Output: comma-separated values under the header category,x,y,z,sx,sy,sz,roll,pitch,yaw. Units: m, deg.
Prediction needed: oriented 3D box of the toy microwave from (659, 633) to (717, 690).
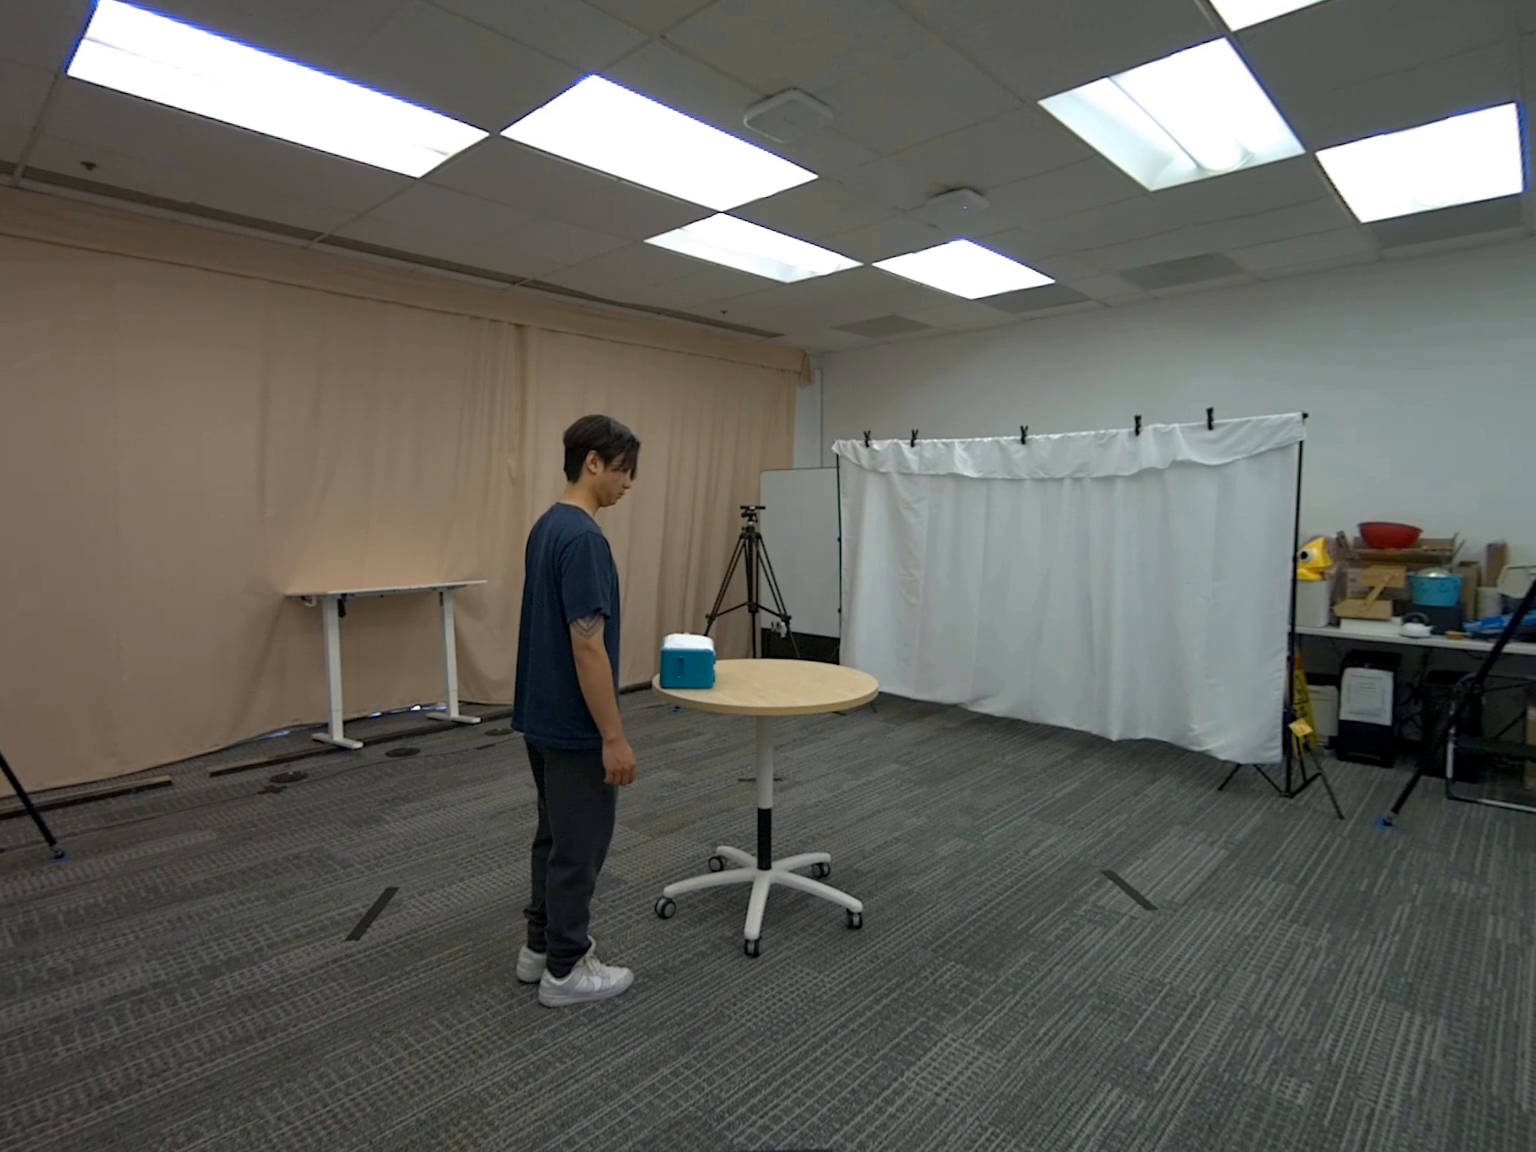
category,x,y,z,sx,sy,sz,roll,pitch,yaw
toy microwave,-0.263,0.282,2.857,0.184,0.152,0.288,2,5,-3
